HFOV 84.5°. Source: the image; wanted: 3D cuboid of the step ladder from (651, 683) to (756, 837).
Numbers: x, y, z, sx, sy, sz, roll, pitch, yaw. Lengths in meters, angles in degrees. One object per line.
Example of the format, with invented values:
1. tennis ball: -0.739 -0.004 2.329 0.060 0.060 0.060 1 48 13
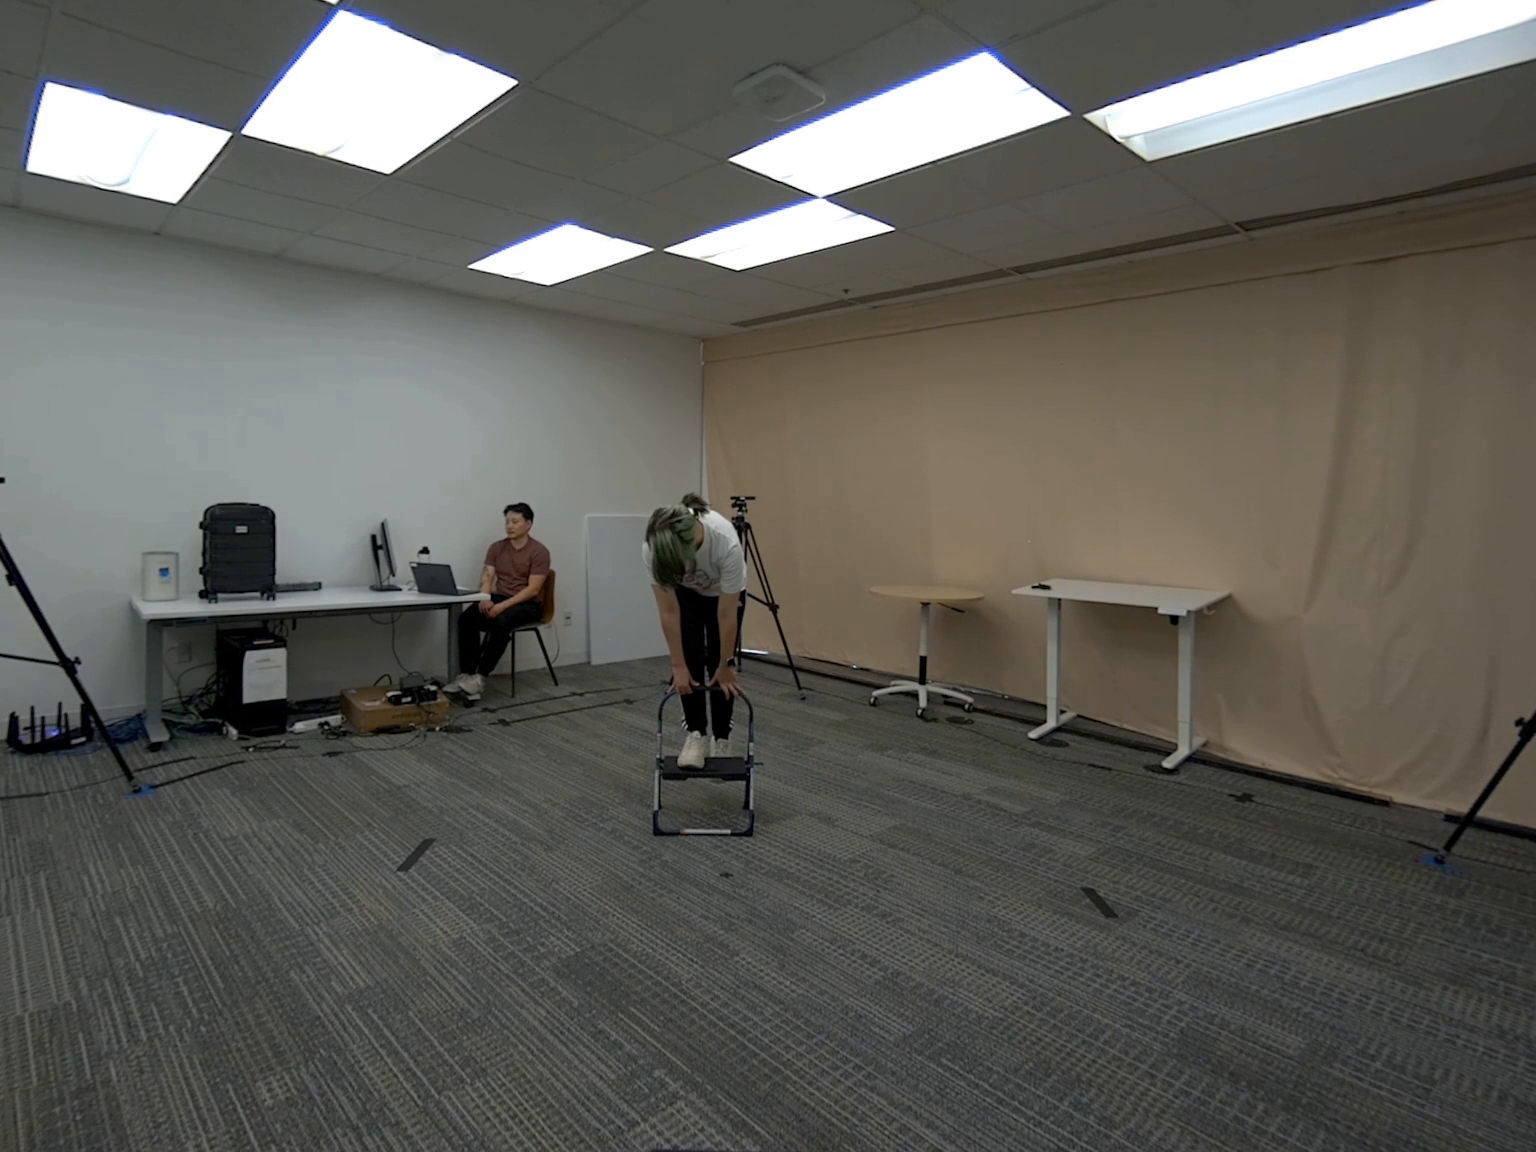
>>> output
1. step ladder: -0.280 0.759 3.615 0.429 0.605 0.351 2 3 -4
